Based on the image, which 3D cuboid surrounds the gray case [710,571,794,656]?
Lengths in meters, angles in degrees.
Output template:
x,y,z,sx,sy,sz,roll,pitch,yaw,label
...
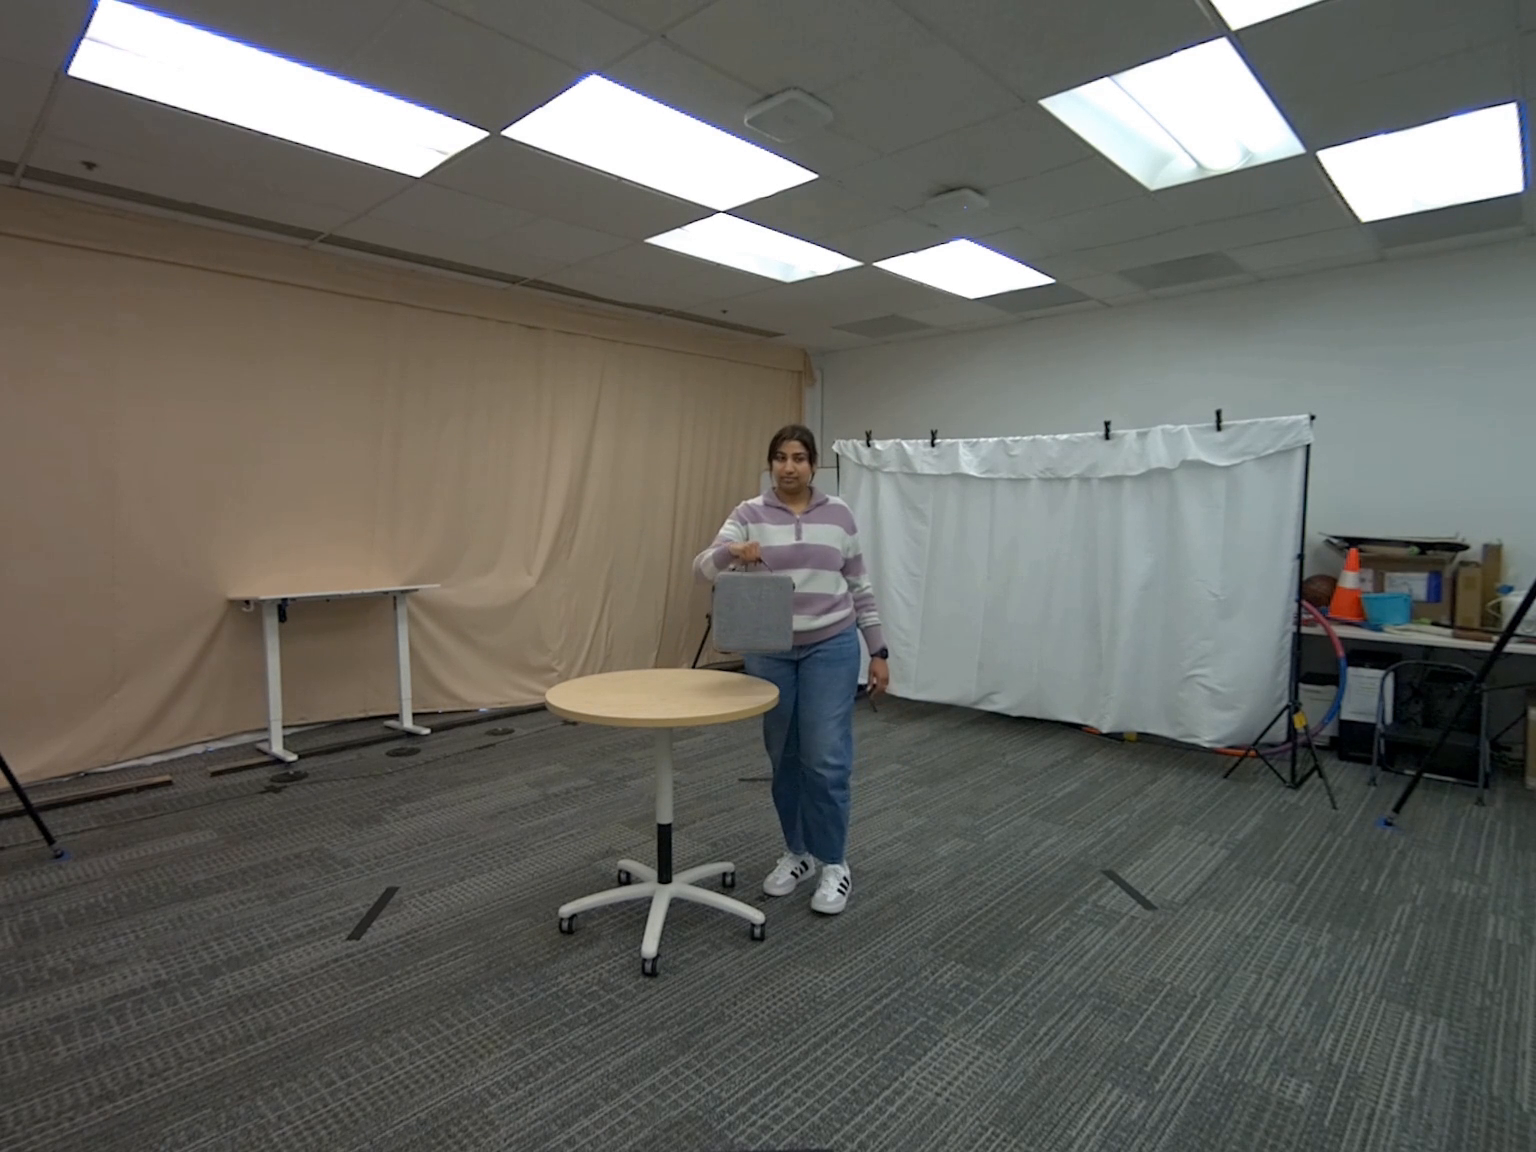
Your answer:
x,y,z,sx,sy,sz,roll,pitch,yaw,label
-0.041,0.115,2.650,0.255,0.261,0.105,0,-5,-7,gray case
